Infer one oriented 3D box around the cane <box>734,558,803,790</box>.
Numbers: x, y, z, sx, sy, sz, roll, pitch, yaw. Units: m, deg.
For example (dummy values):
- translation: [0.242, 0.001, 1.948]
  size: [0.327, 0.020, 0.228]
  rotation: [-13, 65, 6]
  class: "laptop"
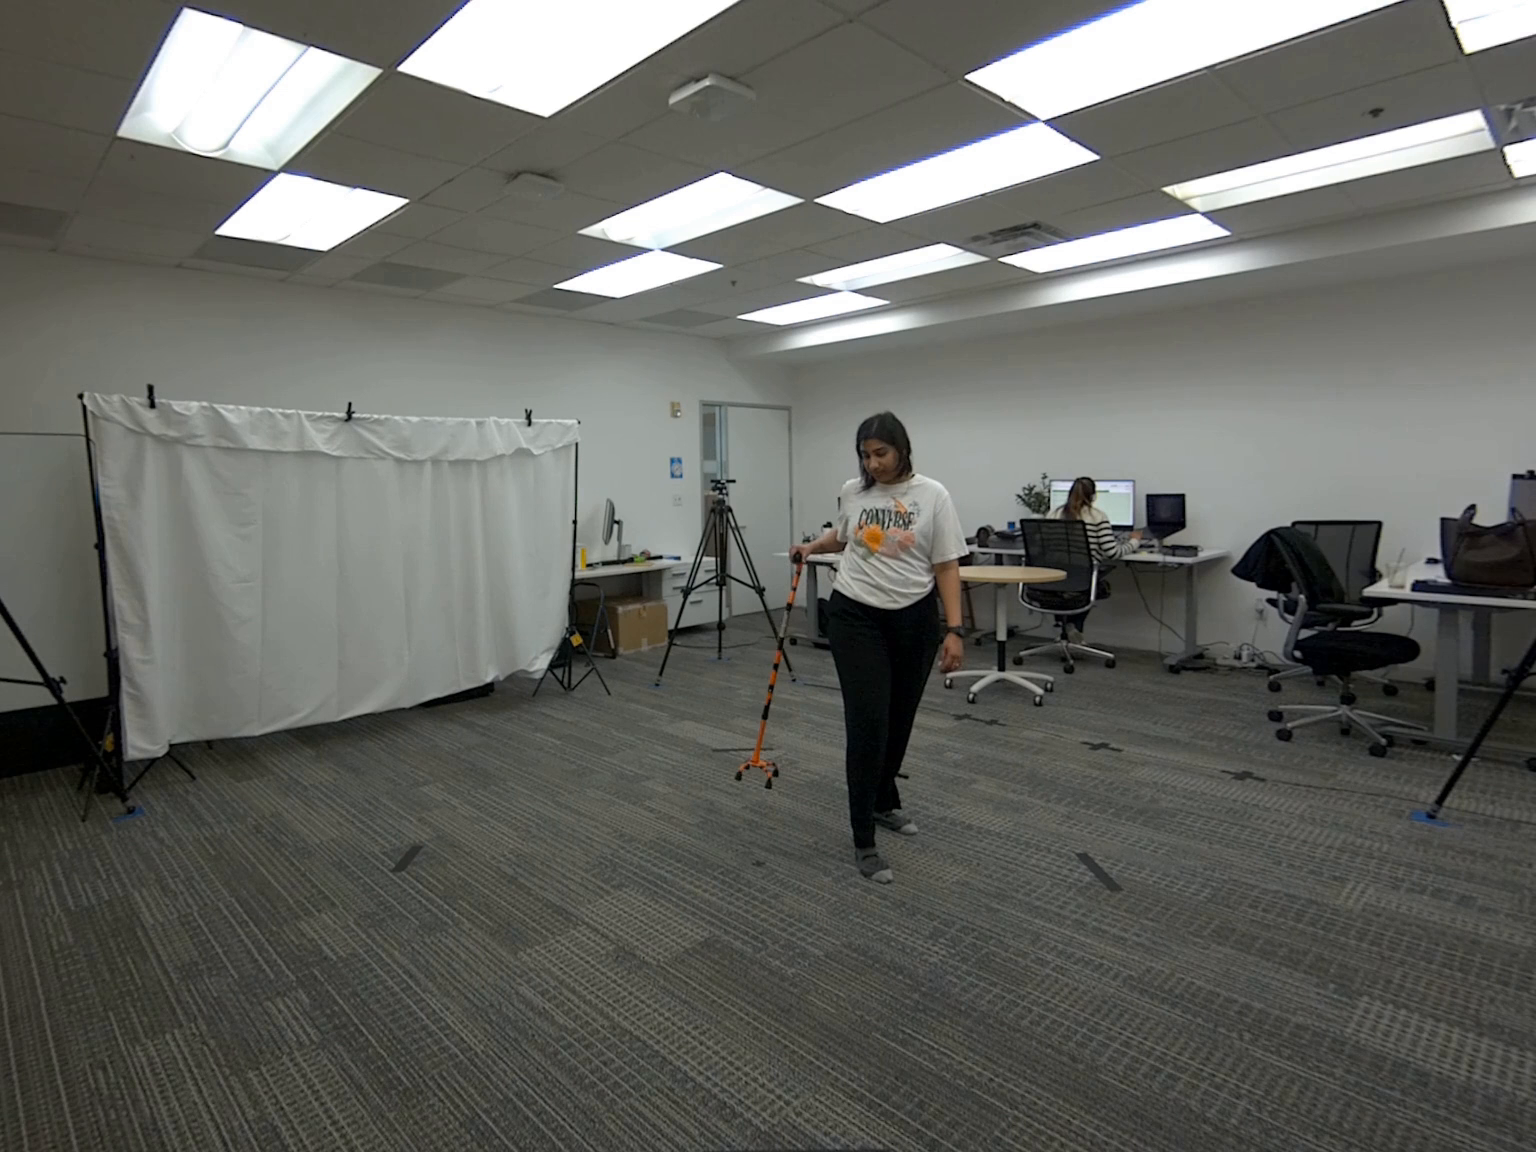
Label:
- translation: [0.053, 0.365, 3.374]
  size: [0.153, 0.907, 0.204]
  rotation: [11, 1, 9]
  class: "cane"
